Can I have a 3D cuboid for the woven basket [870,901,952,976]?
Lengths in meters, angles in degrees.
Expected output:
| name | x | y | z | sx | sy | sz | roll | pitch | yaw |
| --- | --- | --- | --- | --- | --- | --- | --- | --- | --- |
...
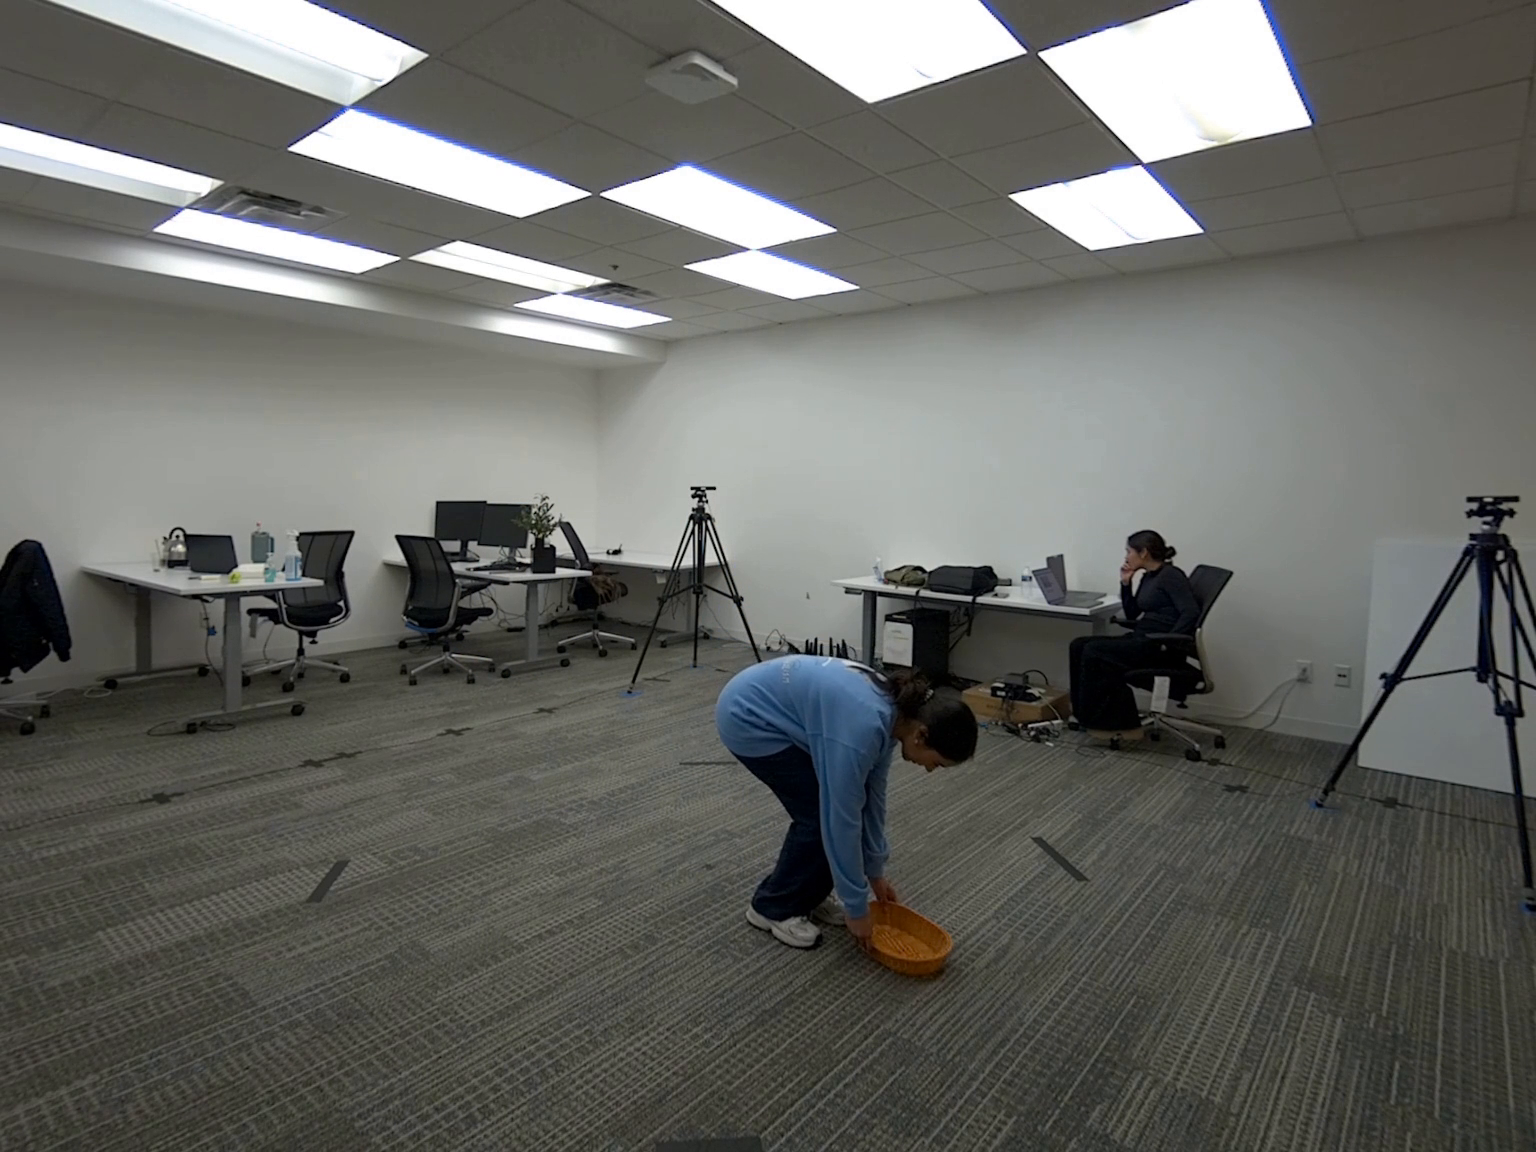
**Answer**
| name | x | y | z | sx | sy | sz | roll | pitch | yaw |
| --- | --- | --- | --- | --- | --- | --- | --- | --- | --- |
| woven basket | 0.378 | 1.081 | 2.572 | 0.246 | 0.073 | 0.361 | -3 | 7 | -29 |
